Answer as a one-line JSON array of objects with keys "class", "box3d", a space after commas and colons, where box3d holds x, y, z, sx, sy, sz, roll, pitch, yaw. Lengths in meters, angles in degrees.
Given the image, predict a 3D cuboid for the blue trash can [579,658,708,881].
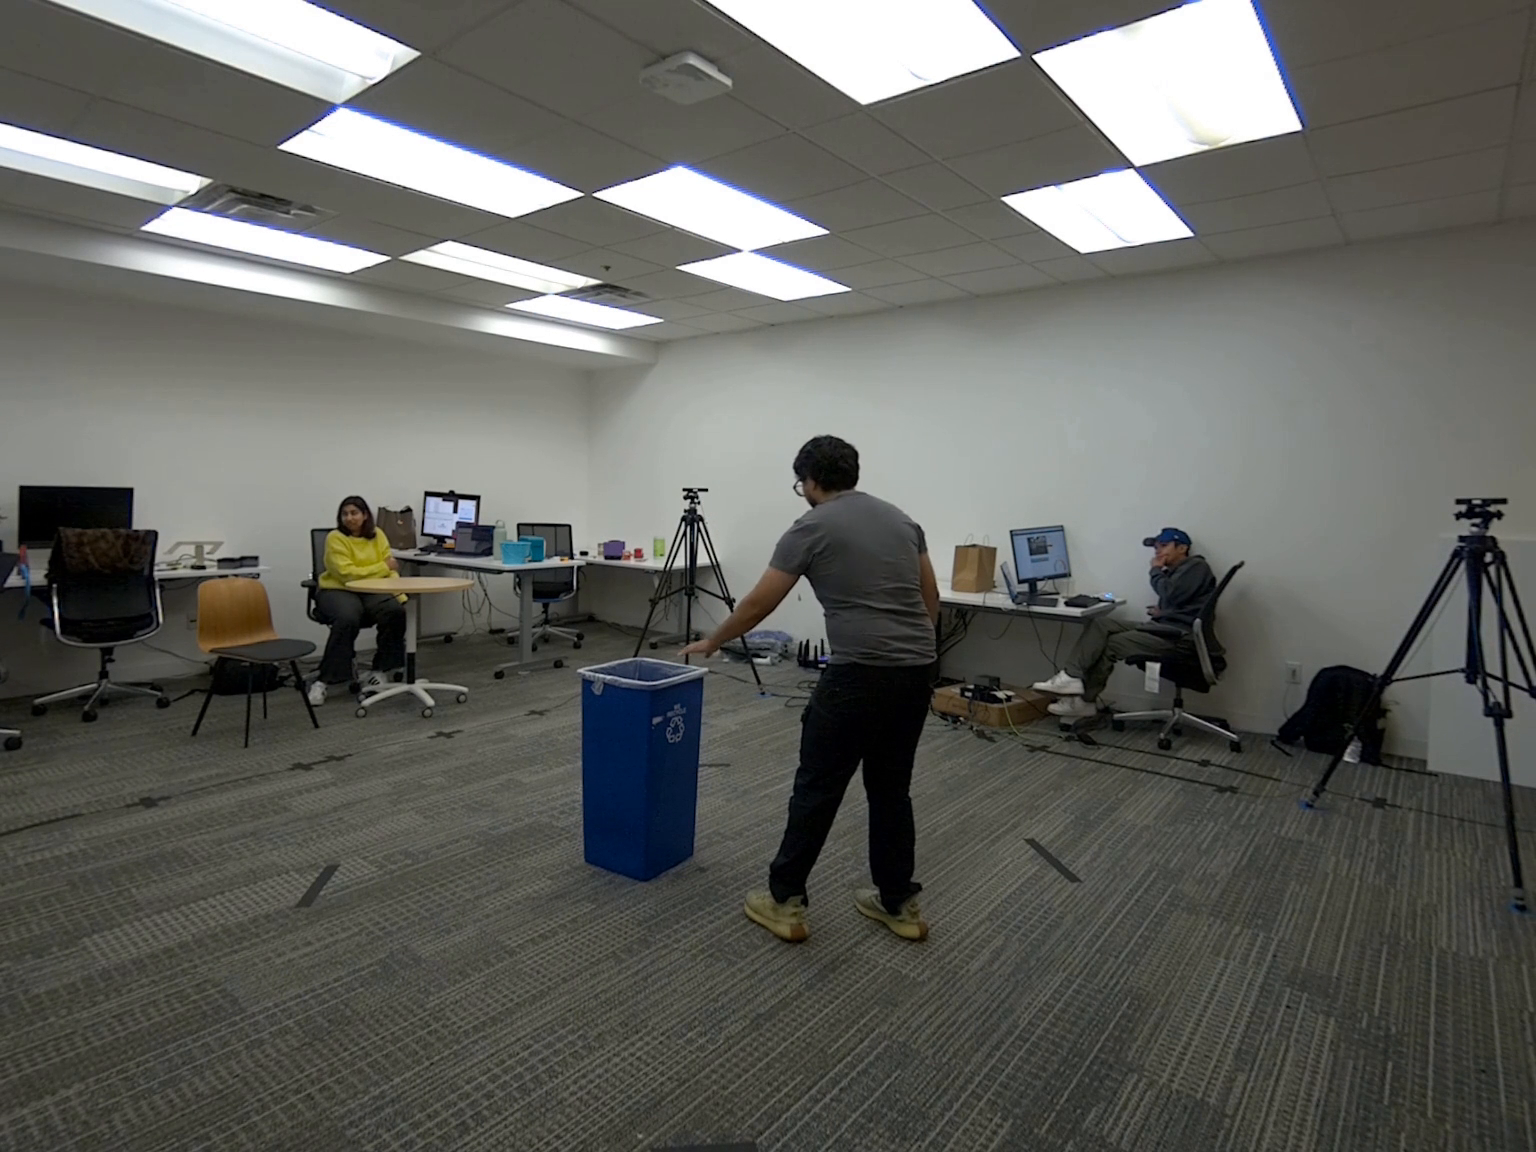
[{"class": "blue trash can", "box3d": [-0.484, 0.700, 3.189, 0.390, 0.712, 0.364, 3, 4, 33]}]
